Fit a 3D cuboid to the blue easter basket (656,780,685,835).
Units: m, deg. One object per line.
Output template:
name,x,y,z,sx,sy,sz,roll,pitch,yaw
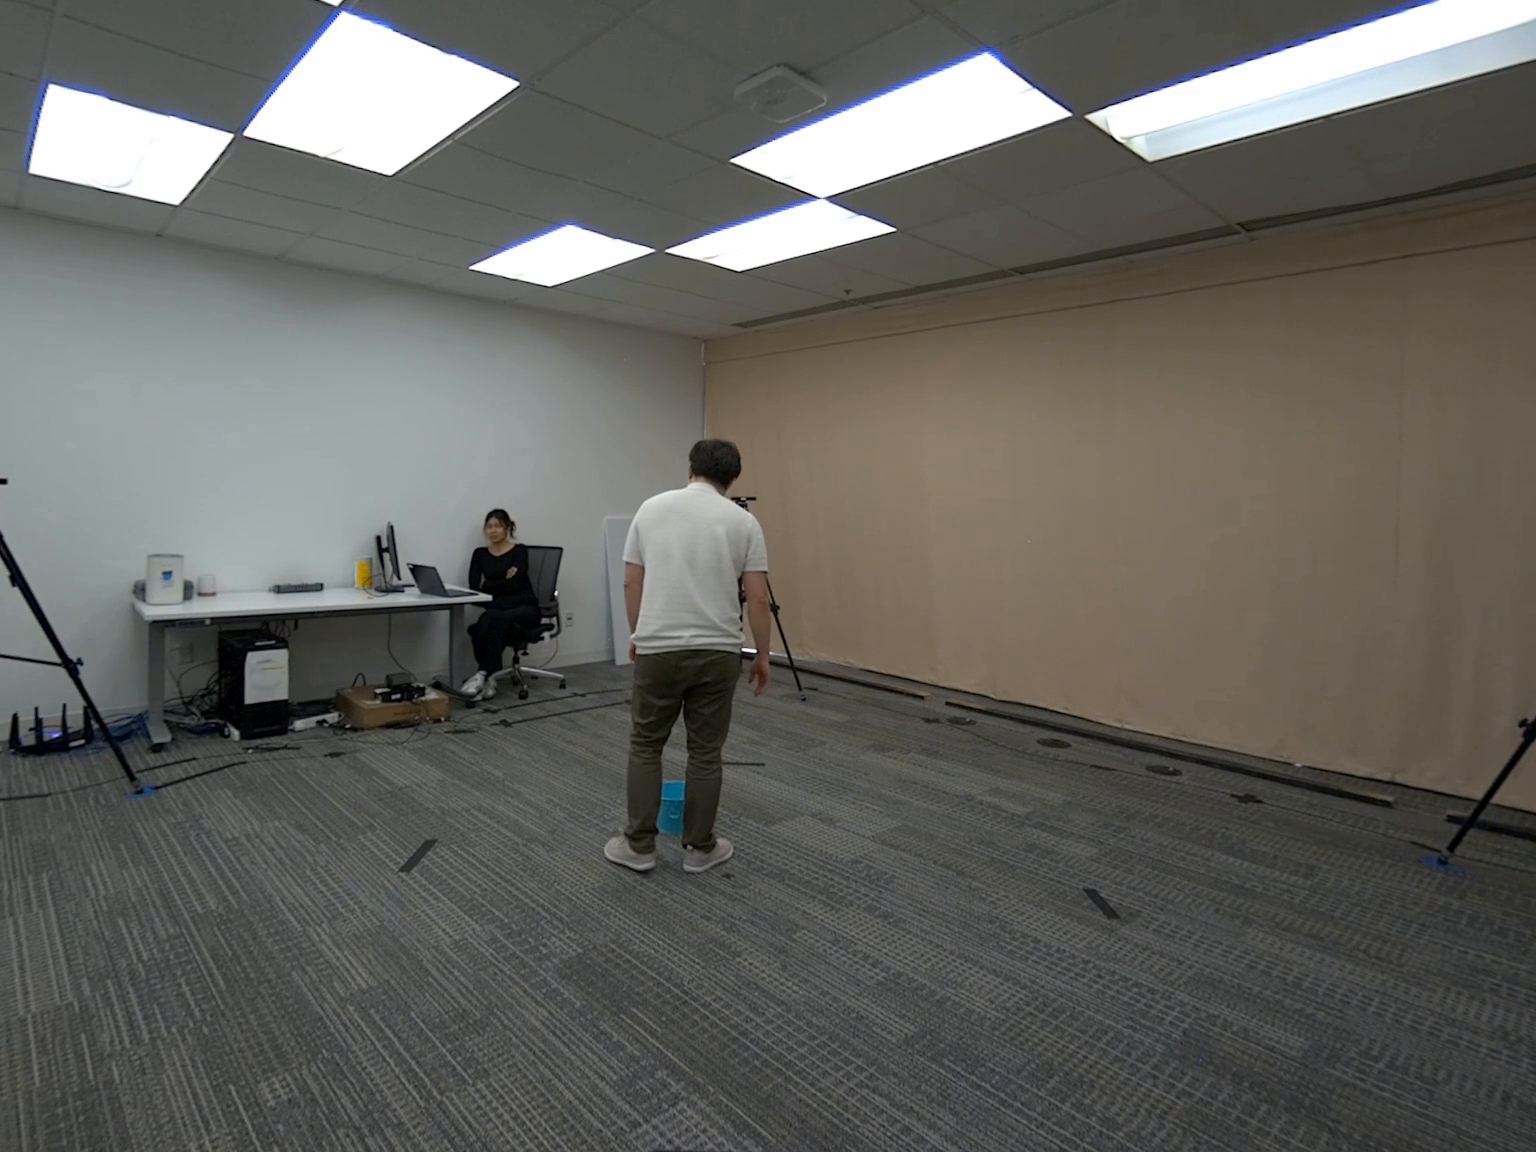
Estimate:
blue easter basket,-0.384,0.984,3.576,0.243,0.155,0.244,1,4,-1
